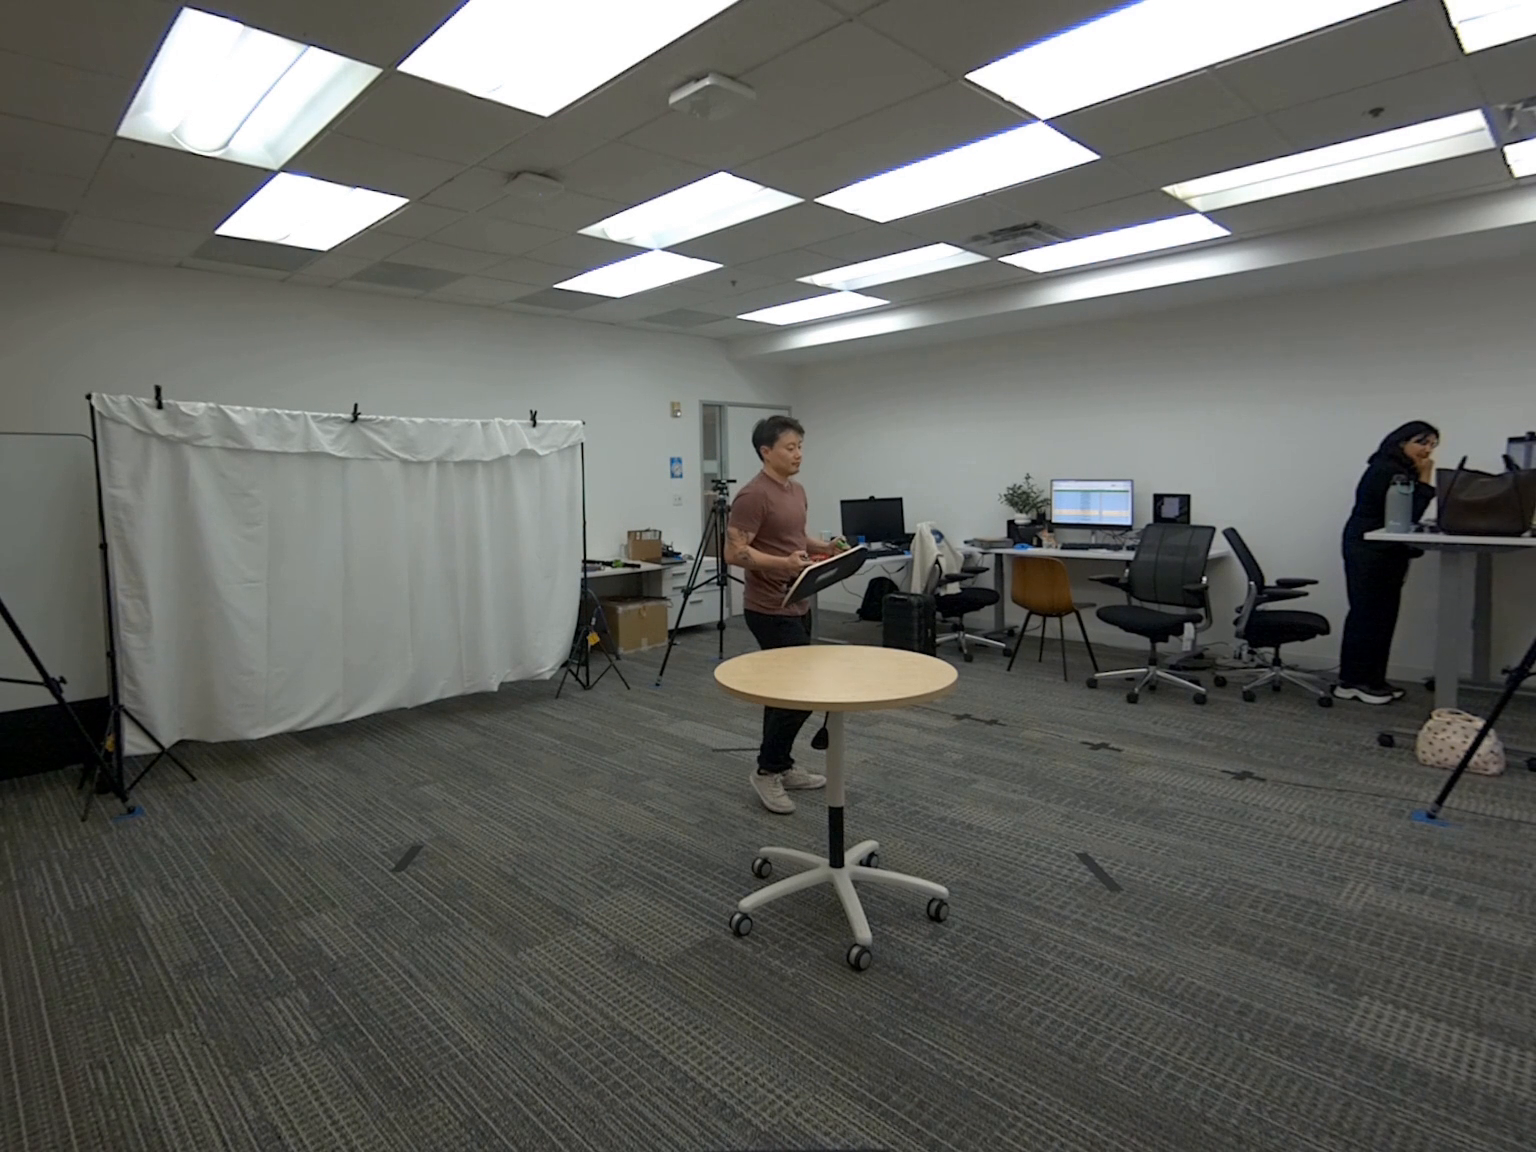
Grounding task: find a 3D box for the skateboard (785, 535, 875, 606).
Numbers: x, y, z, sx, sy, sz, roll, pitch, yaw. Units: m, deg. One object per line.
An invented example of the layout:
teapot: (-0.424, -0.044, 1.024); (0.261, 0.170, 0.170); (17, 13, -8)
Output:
skateboard: (0.227, -0.018, 3.665); (0.113, 0.192, 0.772); (32, 22, 19)
